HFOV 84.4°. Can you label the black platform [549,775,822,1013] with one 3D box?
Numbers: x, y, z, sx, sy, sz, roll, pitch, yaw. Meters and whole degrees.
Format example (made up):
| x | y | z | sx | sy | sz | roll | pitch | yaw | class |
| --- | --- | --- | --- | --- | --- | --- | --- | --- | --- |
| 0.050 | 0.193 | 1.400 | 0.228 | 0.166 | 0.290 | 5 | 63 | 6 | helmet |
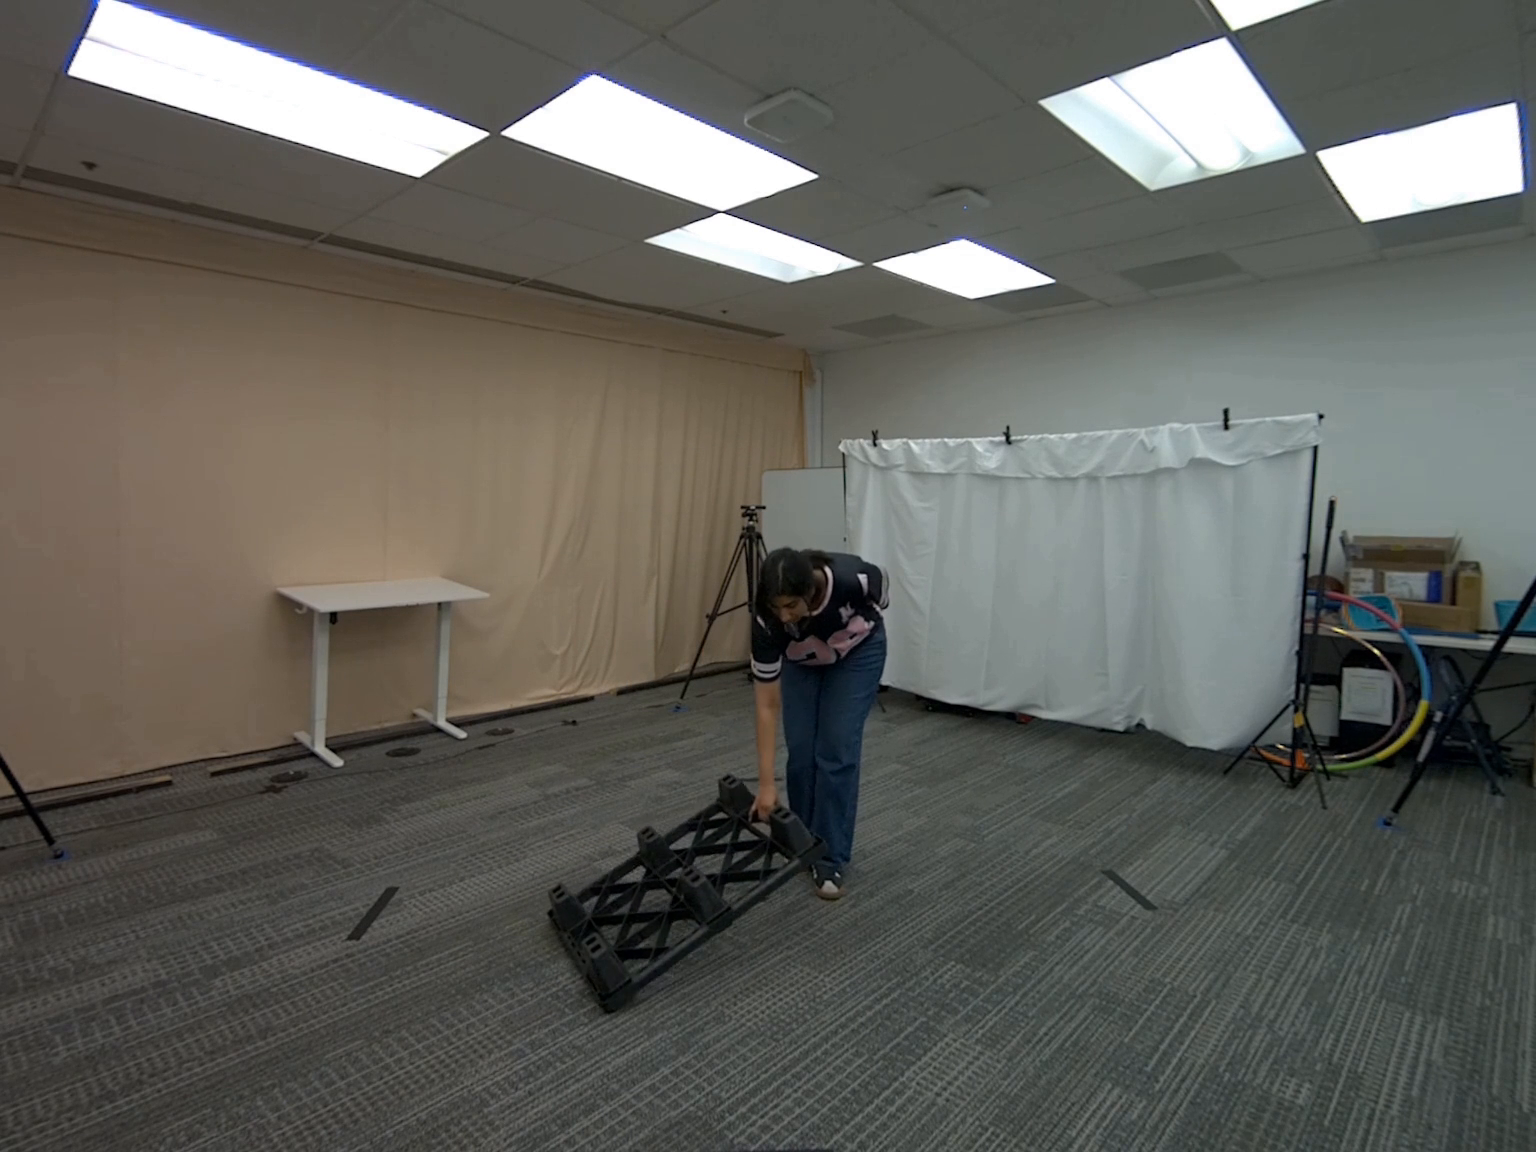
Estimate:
| x | y | z | sx | sy | sz | roll | pitch | yaw | class |
| --- | --- | --- | --- | --- | --- | --- | --- | --- | --- |
| -0.292 | 0.950 | 2.708 | 0.794 | 0.141 | 0.622 | -29 | 18 | -23 | black platform |
